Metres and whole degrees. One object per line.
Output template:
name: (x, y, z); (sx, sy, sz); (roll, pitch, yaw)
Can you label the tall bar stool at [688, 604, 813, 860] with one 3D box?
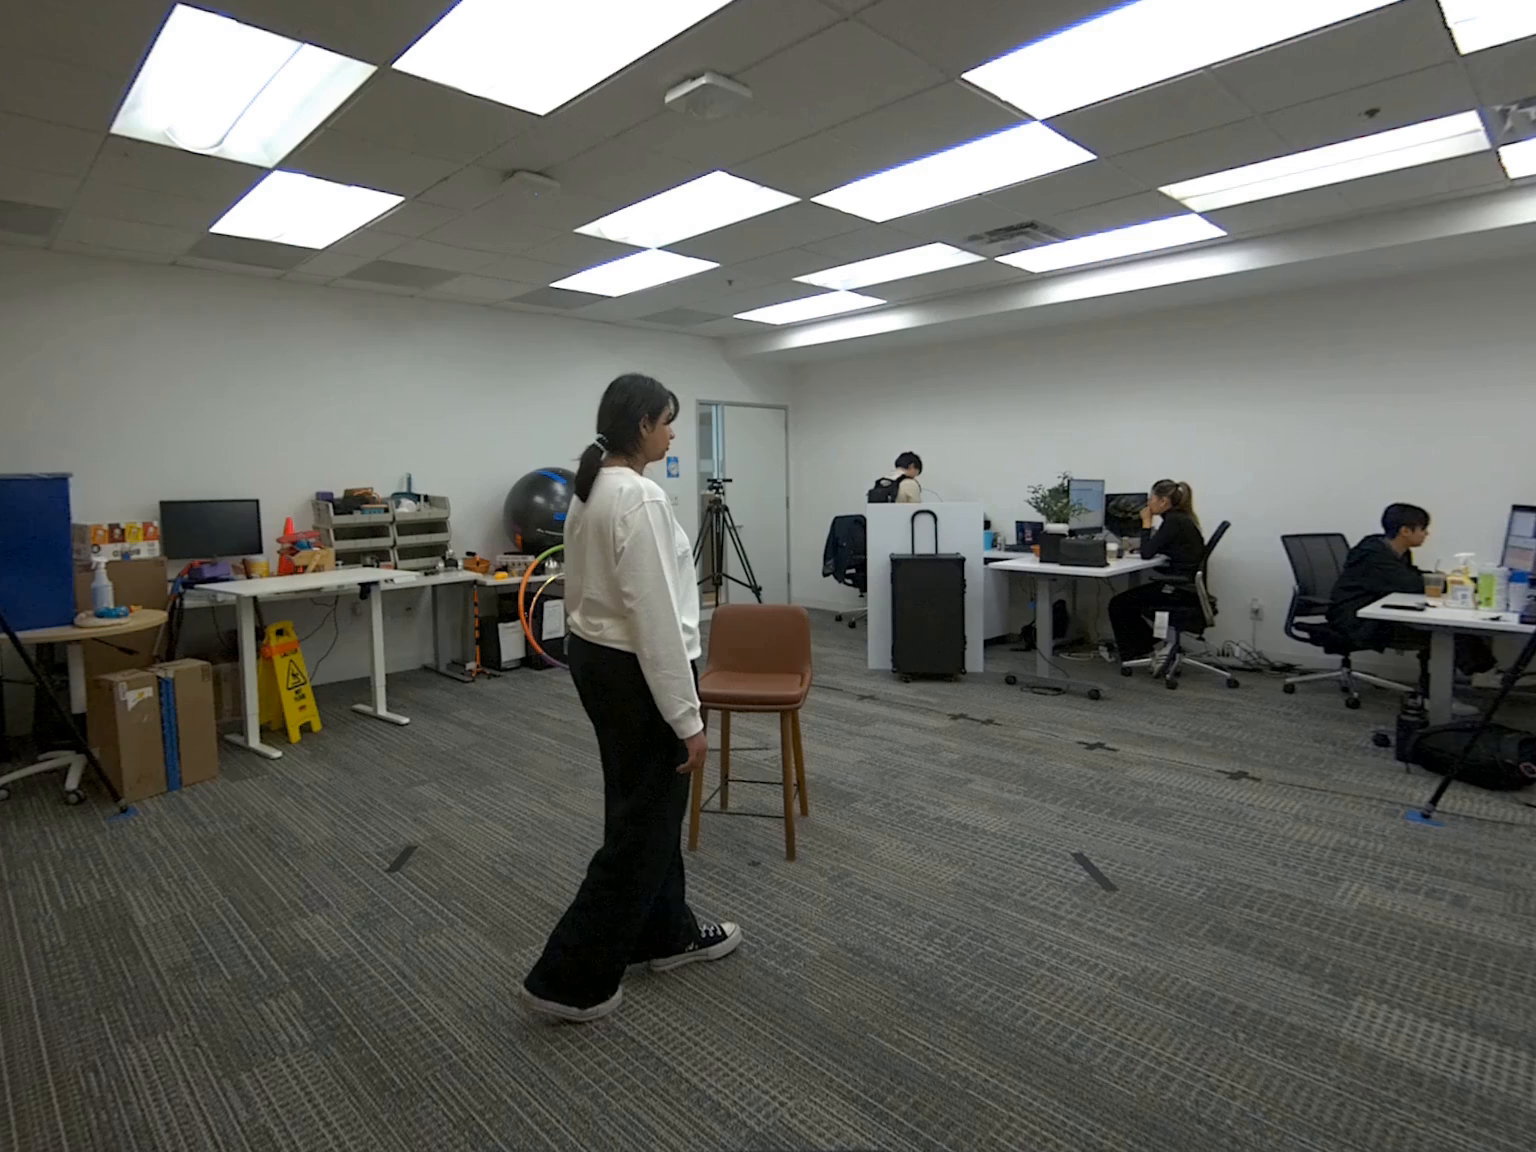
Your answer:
tall bar stool: (-0.062, 0.580, 3.371); (0.463, 0.888, 0.462); (0, 2, 14)
